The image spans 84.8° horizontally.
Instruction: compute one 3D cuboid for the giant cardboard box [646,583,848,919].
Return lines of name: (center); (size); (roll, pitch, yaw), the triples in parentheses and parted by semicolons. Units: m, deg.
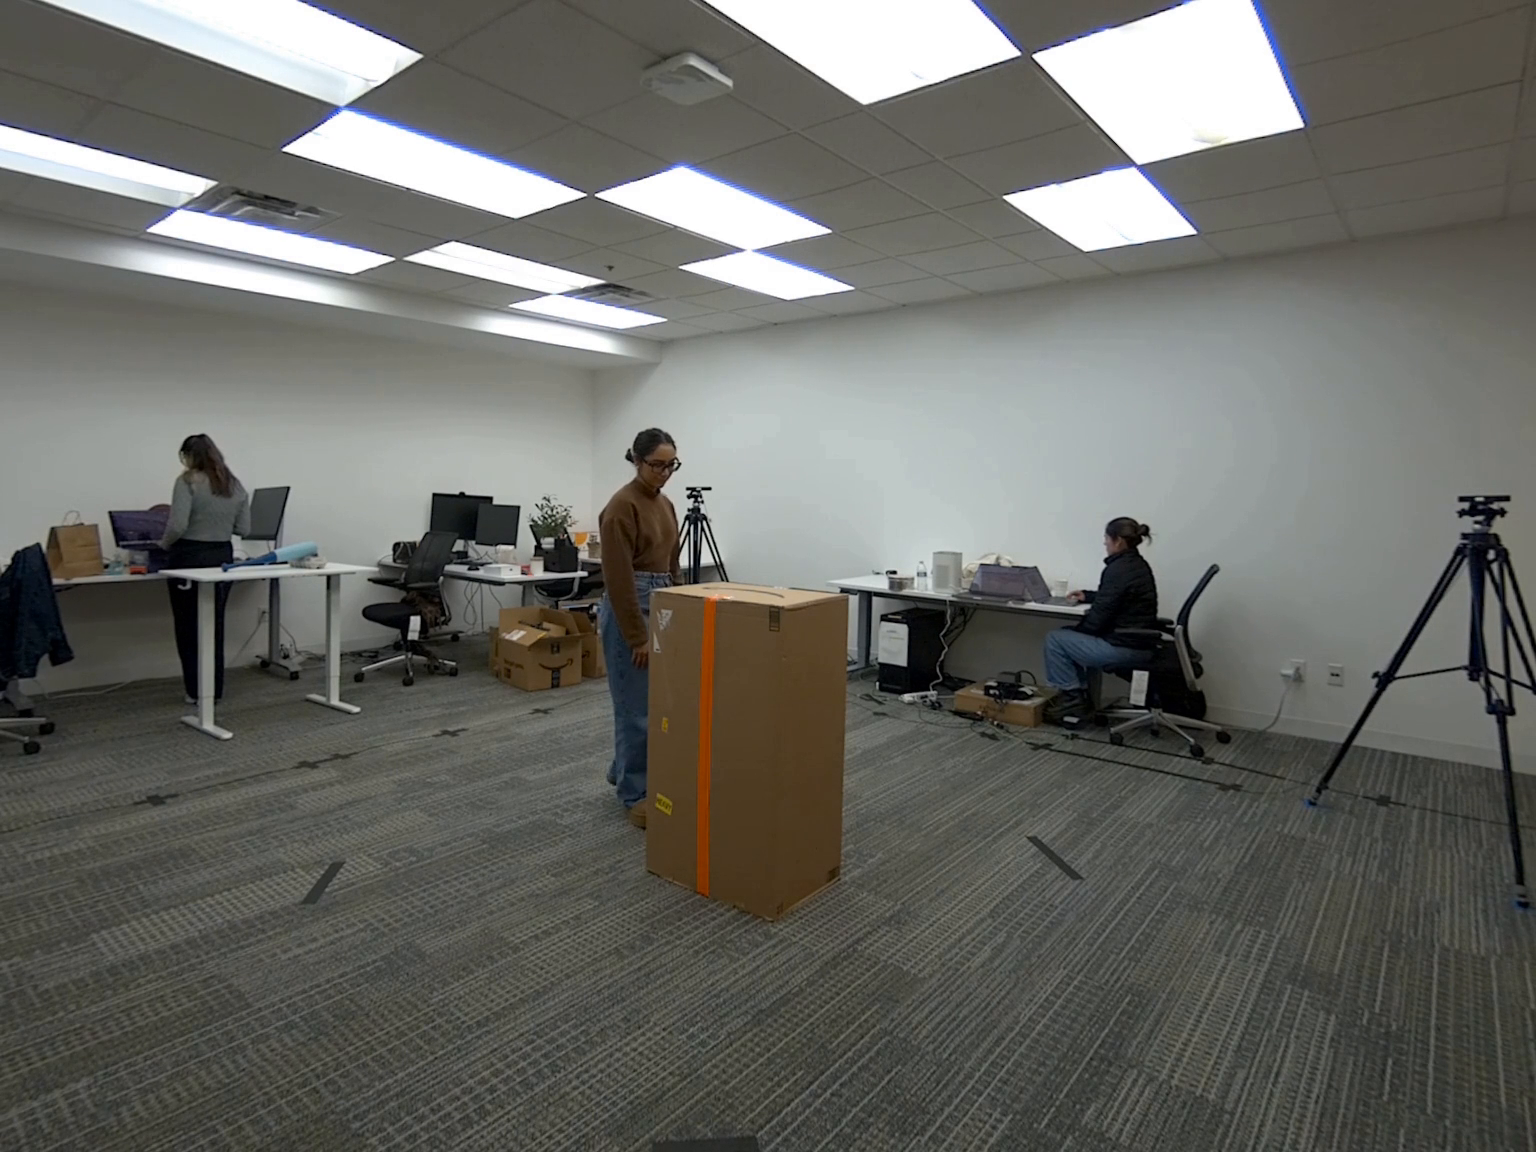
giant cardboard box: (-0.089, 0.567, 3.032); (0.603, 1.024, 0.434); (4, 4, 36)
